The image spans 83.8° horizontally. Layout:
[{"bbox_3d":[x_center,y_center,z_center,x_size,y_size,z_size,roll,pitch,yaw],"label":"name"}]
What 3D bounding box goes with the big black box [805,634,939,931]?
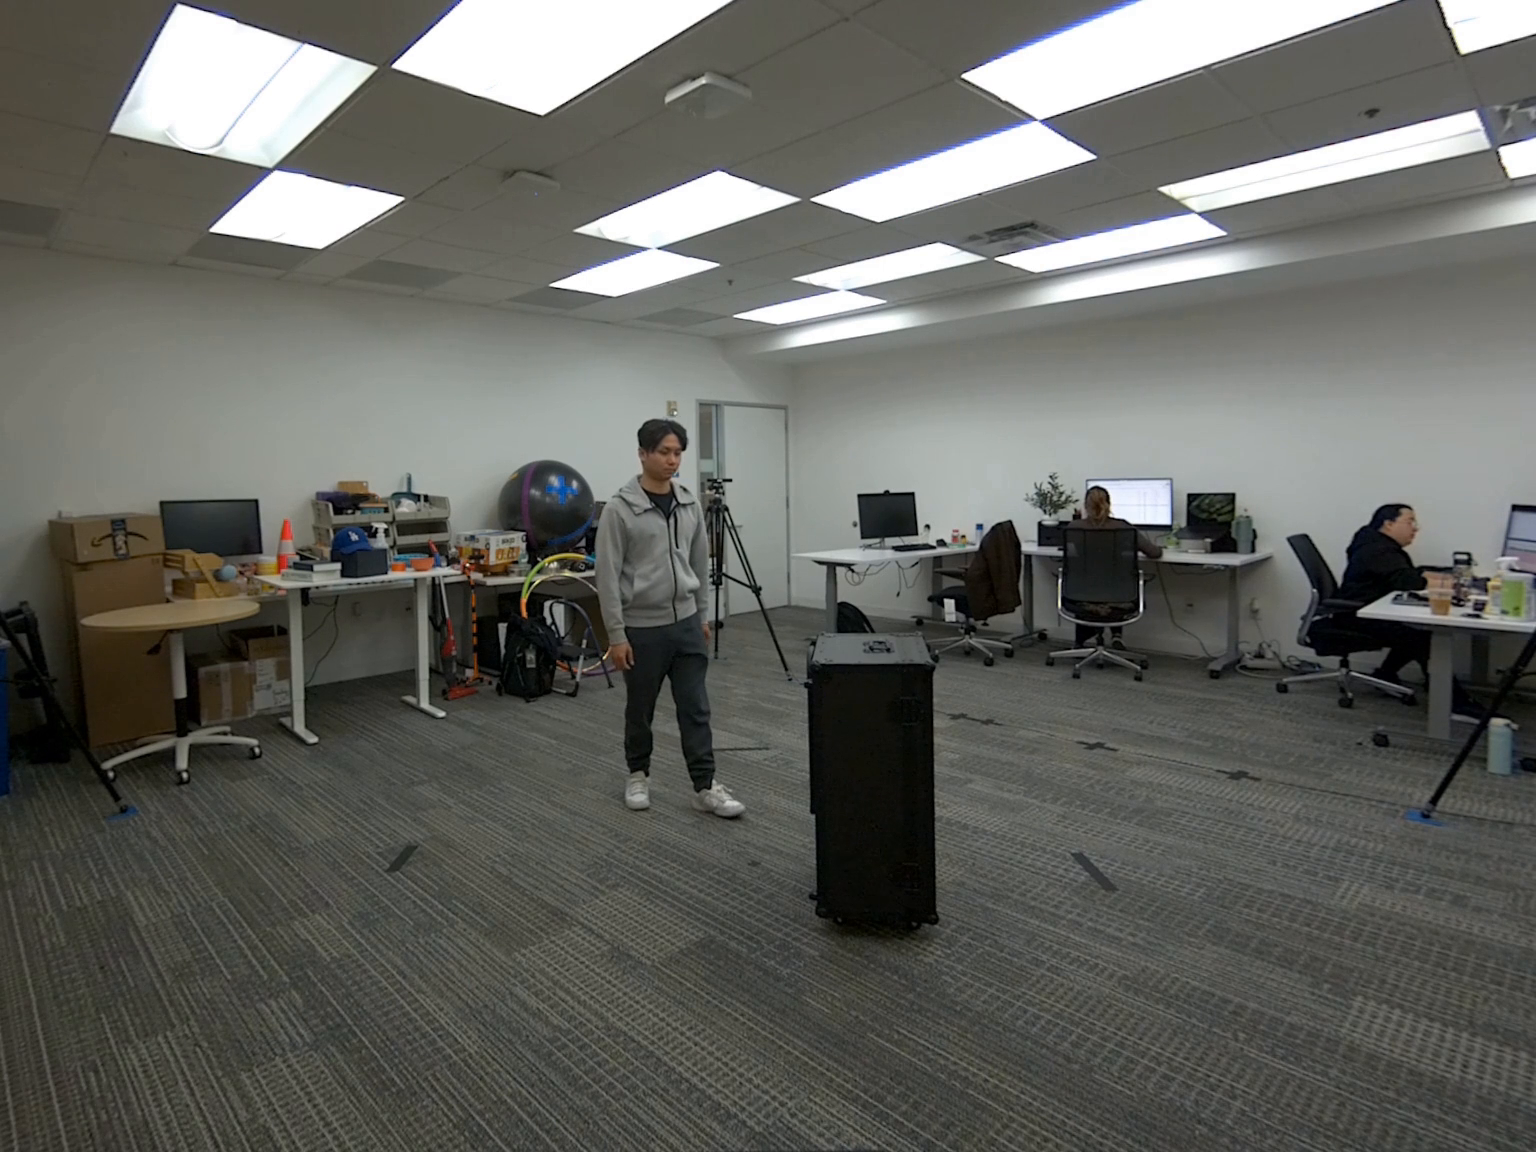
[{"bbox_3d":[0.332,0.651,2.763,0.400,0.858,0.518,-2,4,8],"label":"big black box"}]
